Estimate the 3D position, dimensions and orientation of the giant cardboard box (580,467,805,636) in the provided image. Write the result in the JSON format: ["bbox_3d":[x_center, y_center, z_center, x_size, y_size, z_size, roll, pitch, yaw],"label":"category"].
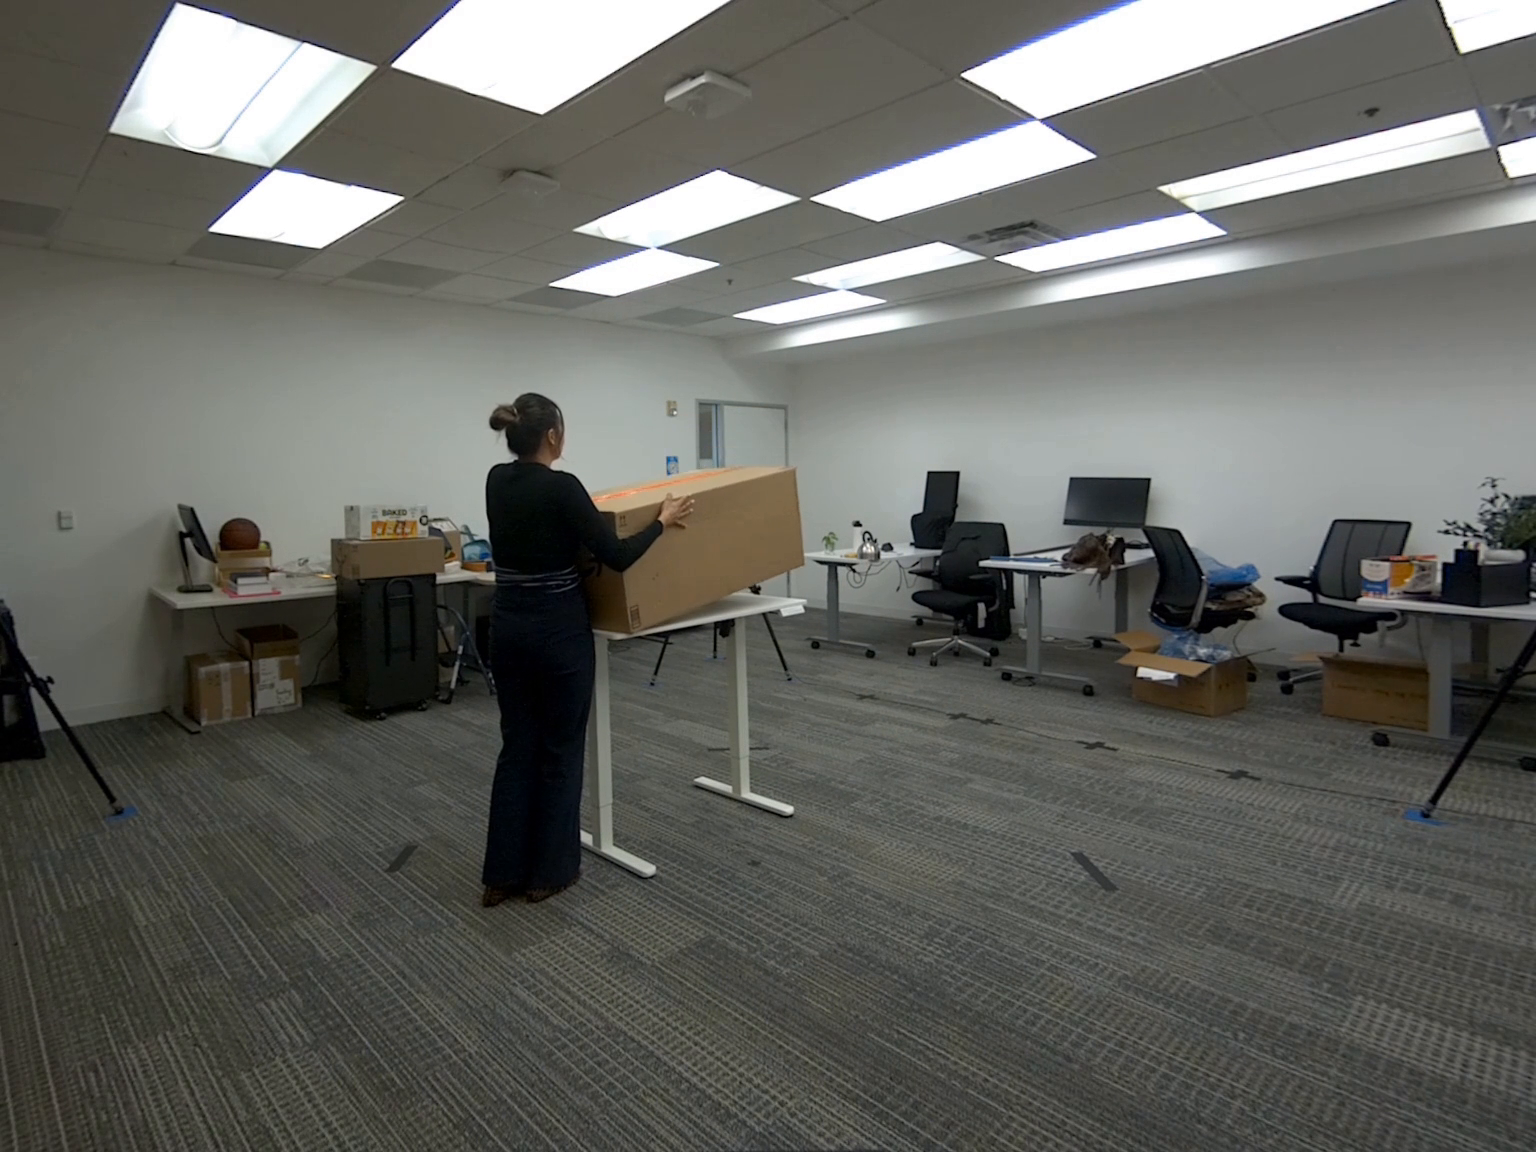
[{"bbox_3d":[-0.390,-0.143,3.396,0.595,0.421,1.008,3,17,39],"label":"giant cardboard box"}]
